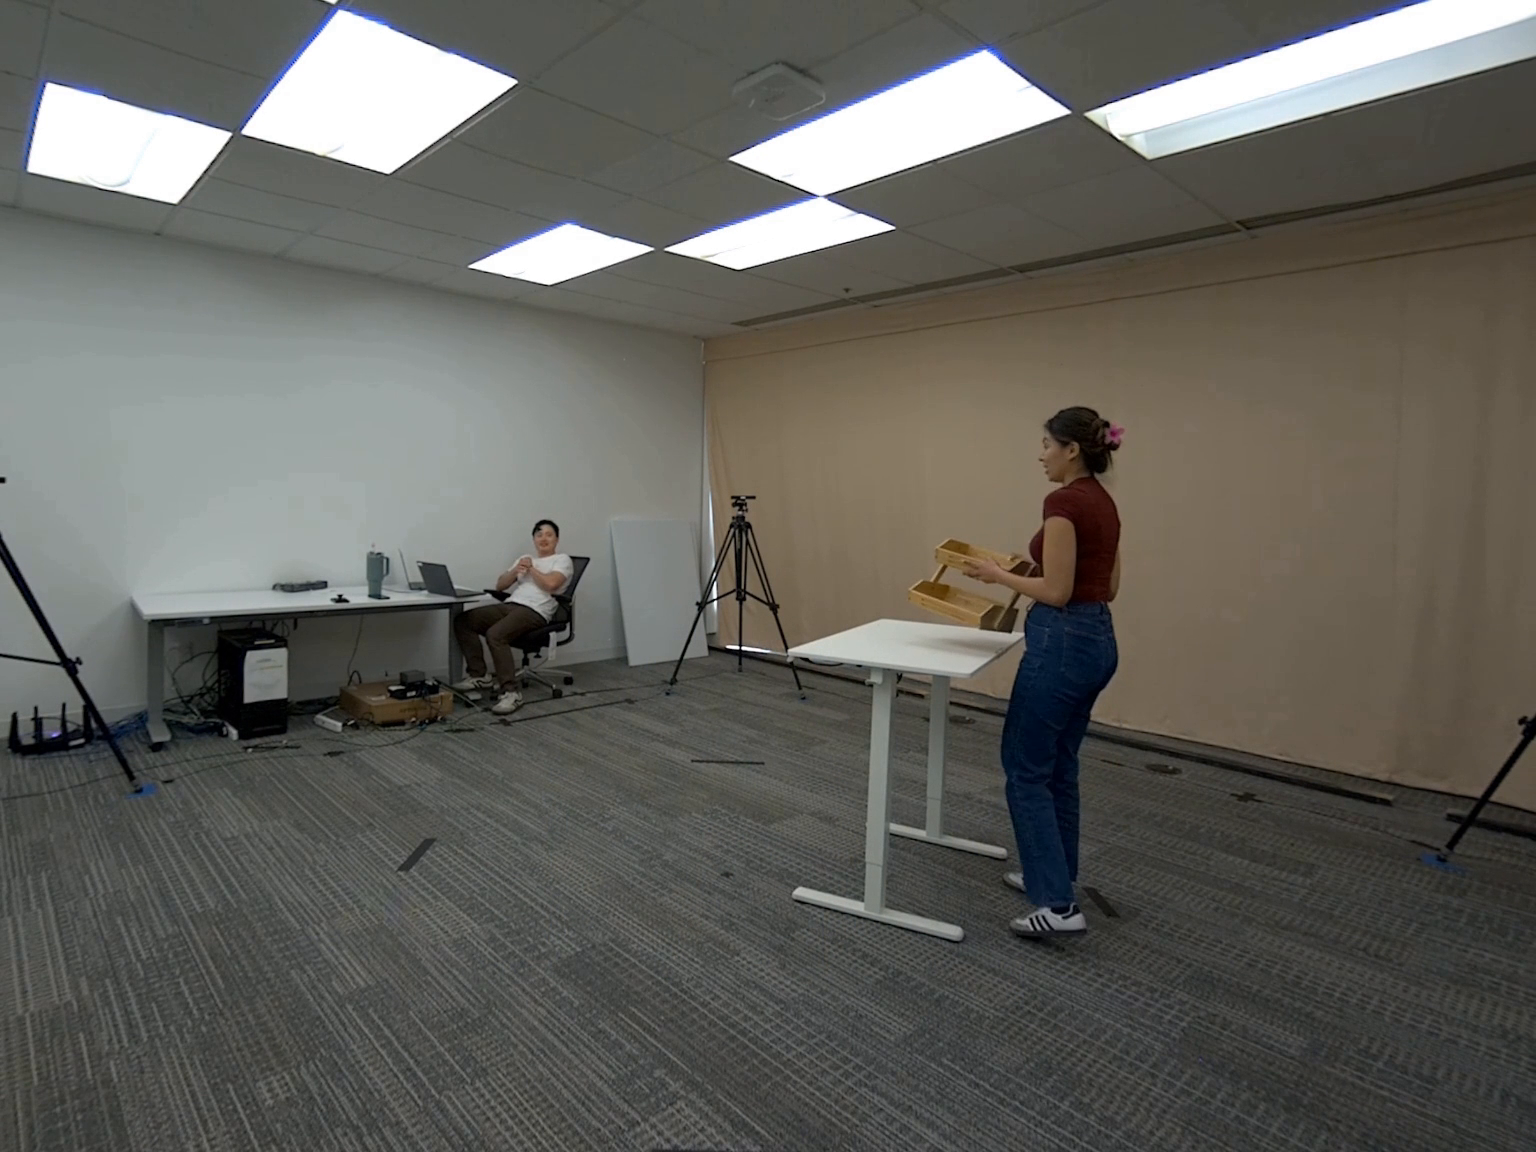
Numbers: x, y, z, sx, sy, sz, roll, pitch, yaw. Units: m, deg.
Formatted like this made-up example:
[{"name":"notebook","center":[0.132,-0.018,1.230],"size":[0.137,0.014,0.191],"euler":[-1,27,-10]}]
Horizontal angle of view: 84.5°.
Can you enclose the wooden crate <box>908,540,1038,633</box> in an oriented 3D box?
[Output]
[{"name":"wooden crate","center":[0.725,0.027,3.005],"size":[0.294,0.272,0.334],"euler":[11,9,-46]}]
